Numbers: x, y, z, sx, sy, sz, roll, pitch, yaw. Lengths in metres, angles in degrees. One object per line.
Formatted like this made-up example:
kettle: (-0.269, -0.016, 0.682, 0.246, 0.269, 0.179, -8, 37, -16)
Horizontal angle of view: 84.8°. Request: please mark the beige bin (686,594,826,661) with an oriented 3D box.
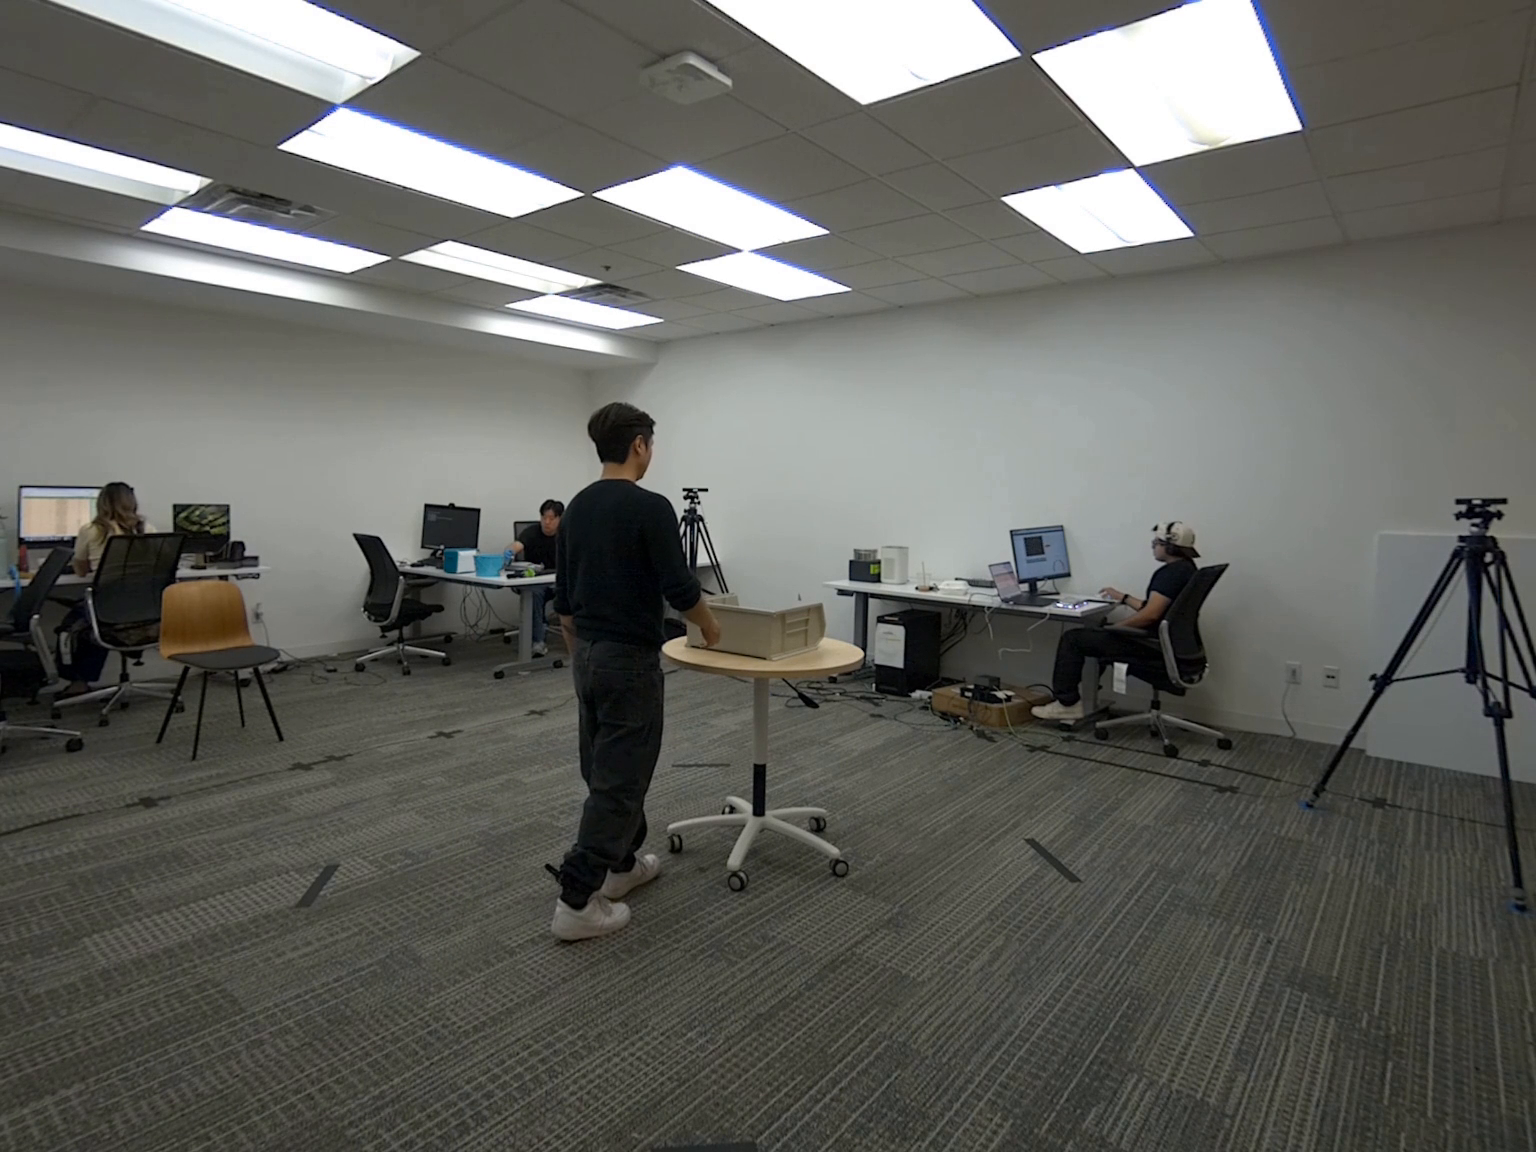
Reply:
beige bin: (-0.063, 0.183, 3.266, 0.436, 0.188, 0.367, 5, 8, 34)
